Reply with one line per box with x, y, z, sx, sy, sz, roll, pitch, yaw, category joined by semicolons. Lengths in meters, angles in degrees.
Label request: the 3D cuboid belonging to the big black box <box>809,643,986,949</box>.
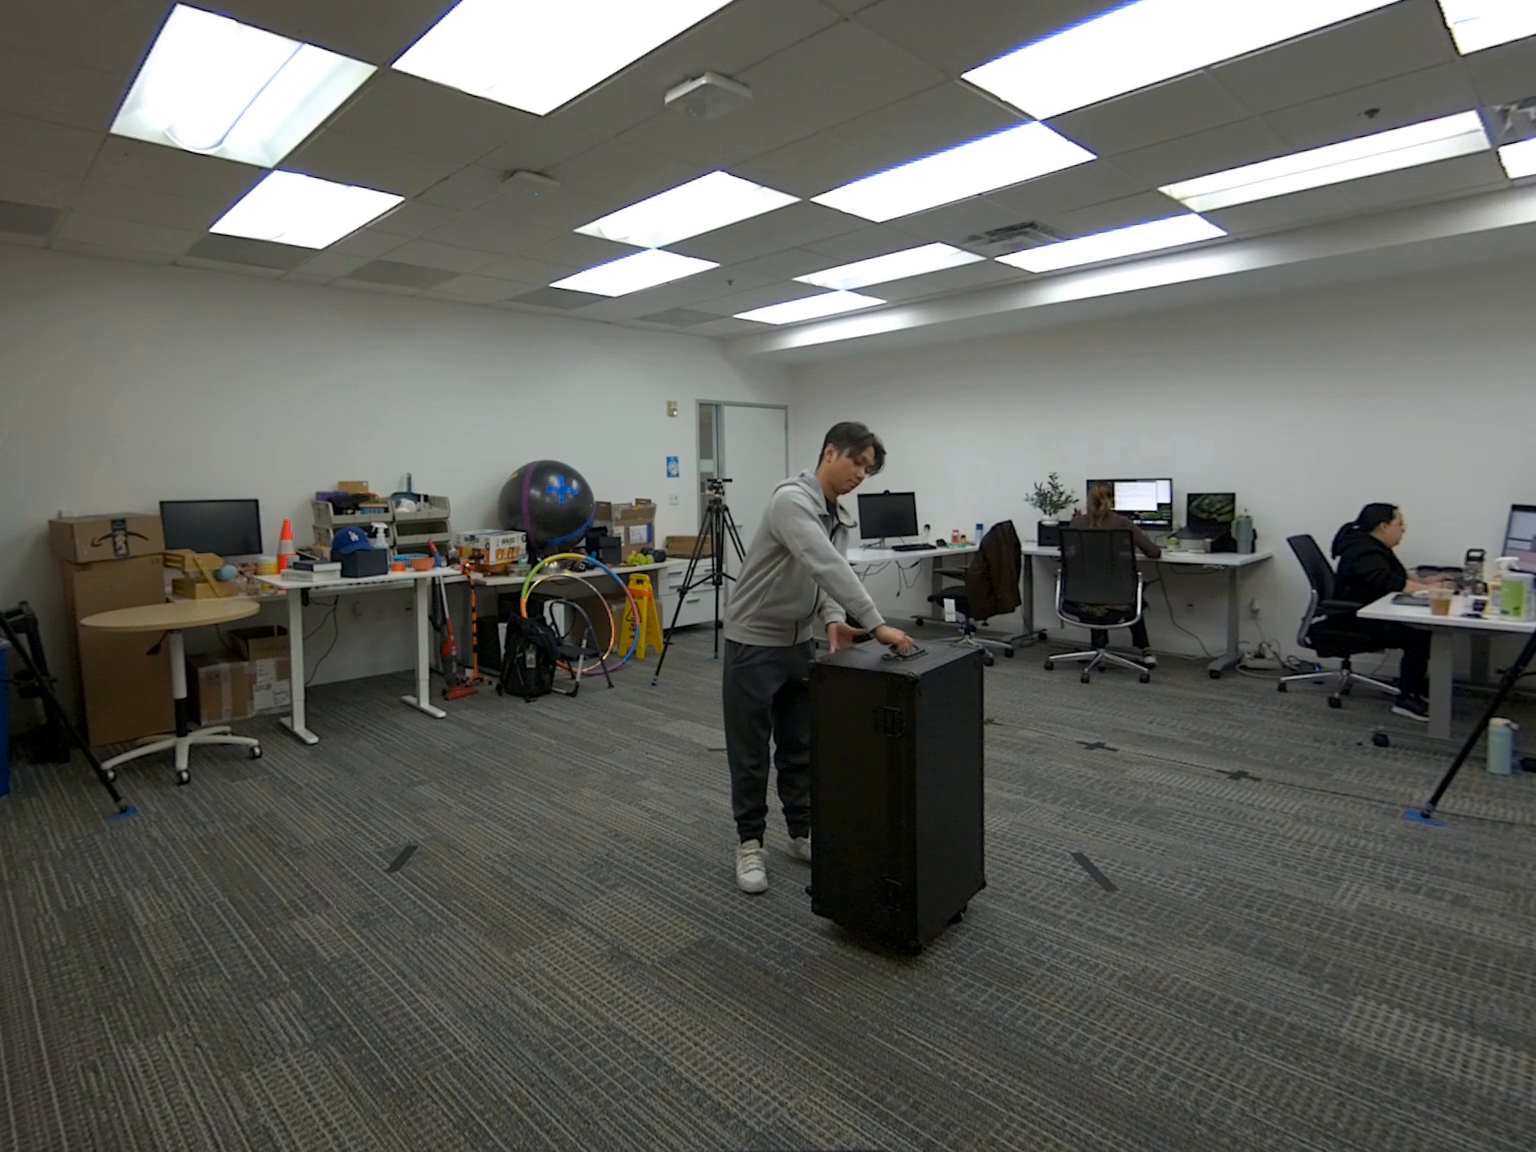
0.408;0.607;2.657;0.408;0.858;0.508;2;6;37;big black box
